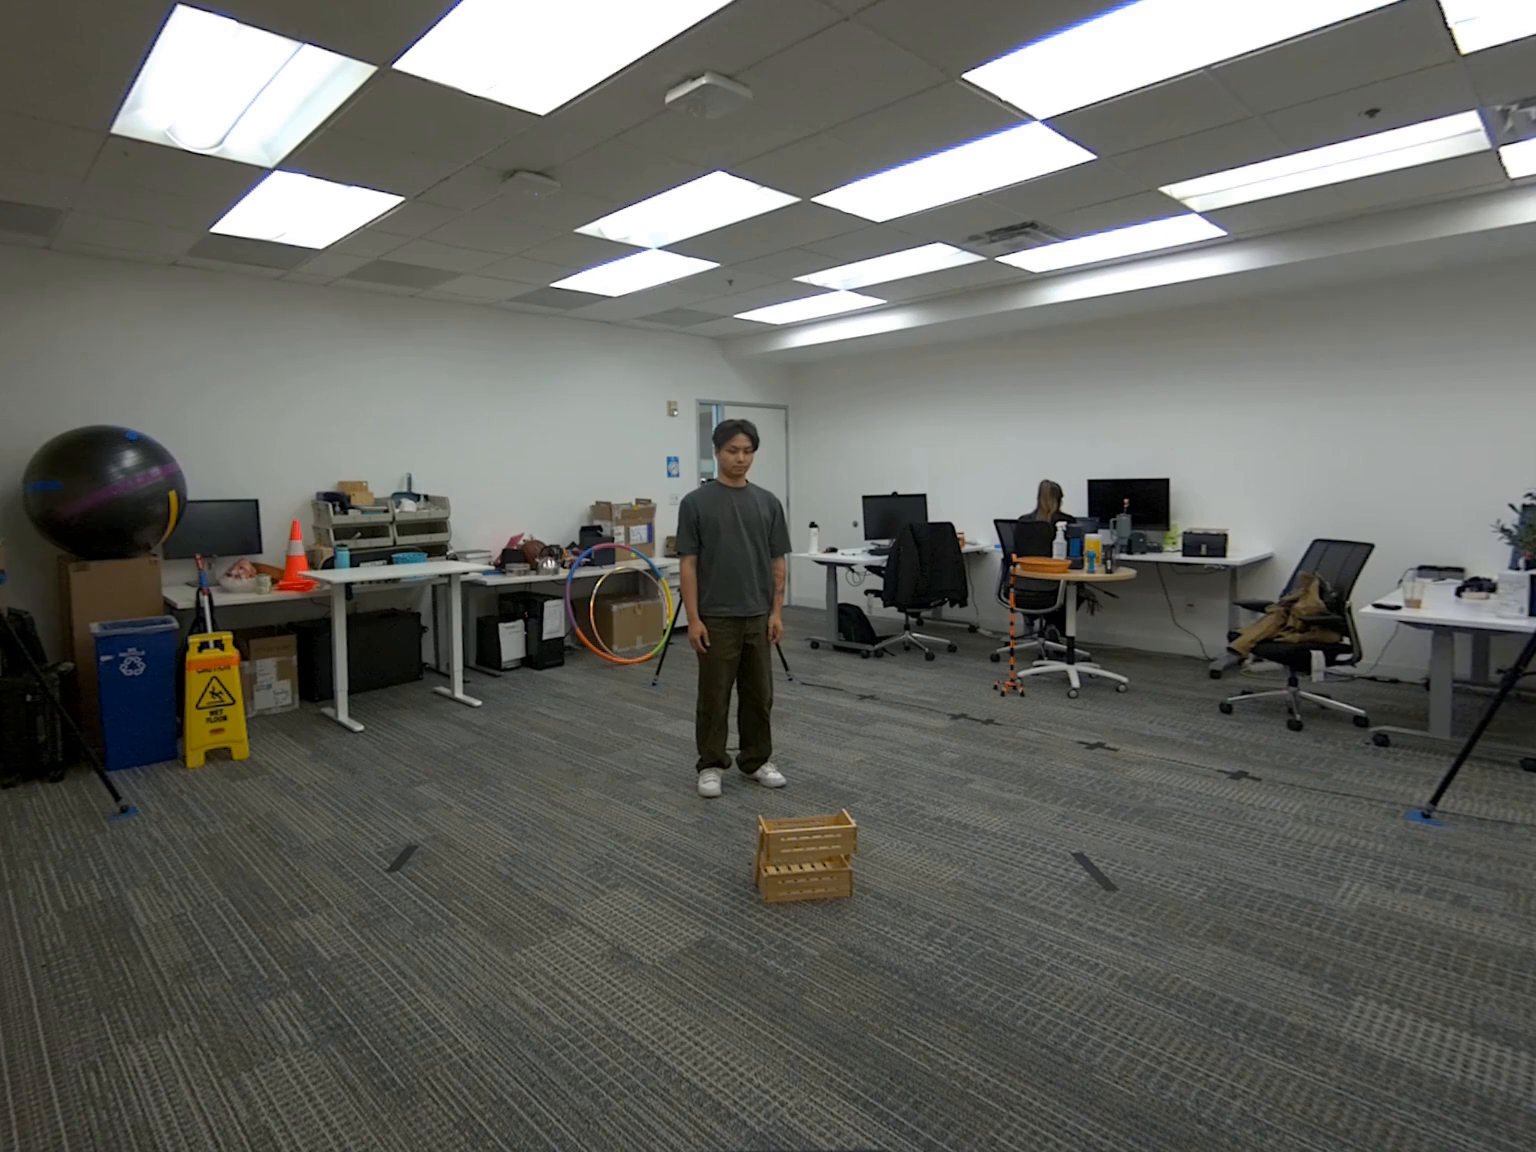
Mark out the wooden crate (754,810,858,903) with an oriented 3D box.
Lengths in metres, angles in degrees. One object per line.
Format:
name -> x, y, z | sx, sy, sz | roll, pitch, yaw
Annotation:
wooden crate -> 0.116, 0.928, 2.922 | 0.321, 0.272, 0.306 | -2, 5, -10
